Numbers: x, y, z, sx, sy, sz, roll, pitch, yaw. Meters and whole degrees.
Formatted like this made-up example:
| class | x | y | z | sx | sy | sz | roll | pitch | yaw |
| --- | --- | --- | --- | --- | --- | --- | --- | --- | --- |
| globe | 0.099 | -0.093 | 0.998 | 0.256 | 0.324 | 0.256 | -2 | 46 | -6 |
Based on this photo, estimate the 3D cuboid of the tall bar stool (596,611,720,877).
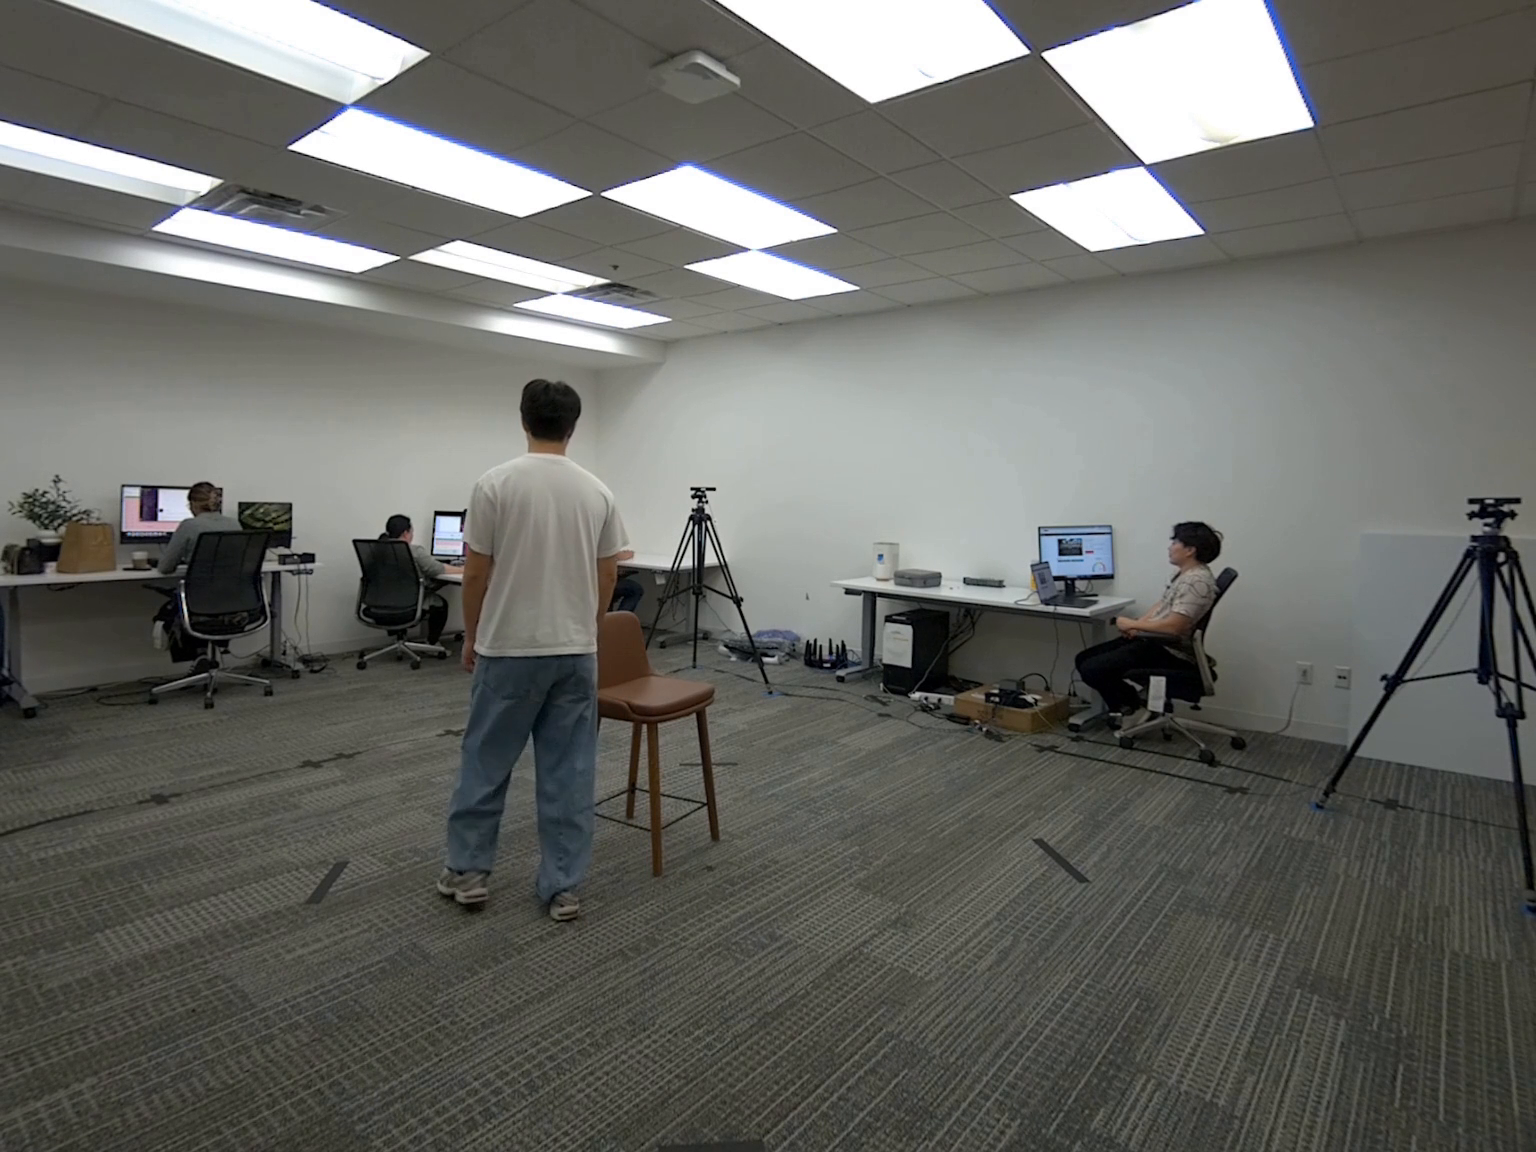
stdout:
| class | x | y | z | sx | sy | sz | roll | pitch | yaw |
| --- | --- | --- | --- | --- | --- | --- | --- | --- | --- |
| tall bar stool | -0.490 | 0.606 | 3.310 | 0.481 | 0.889 | 0.444 | 1 | 2 | 32 |
